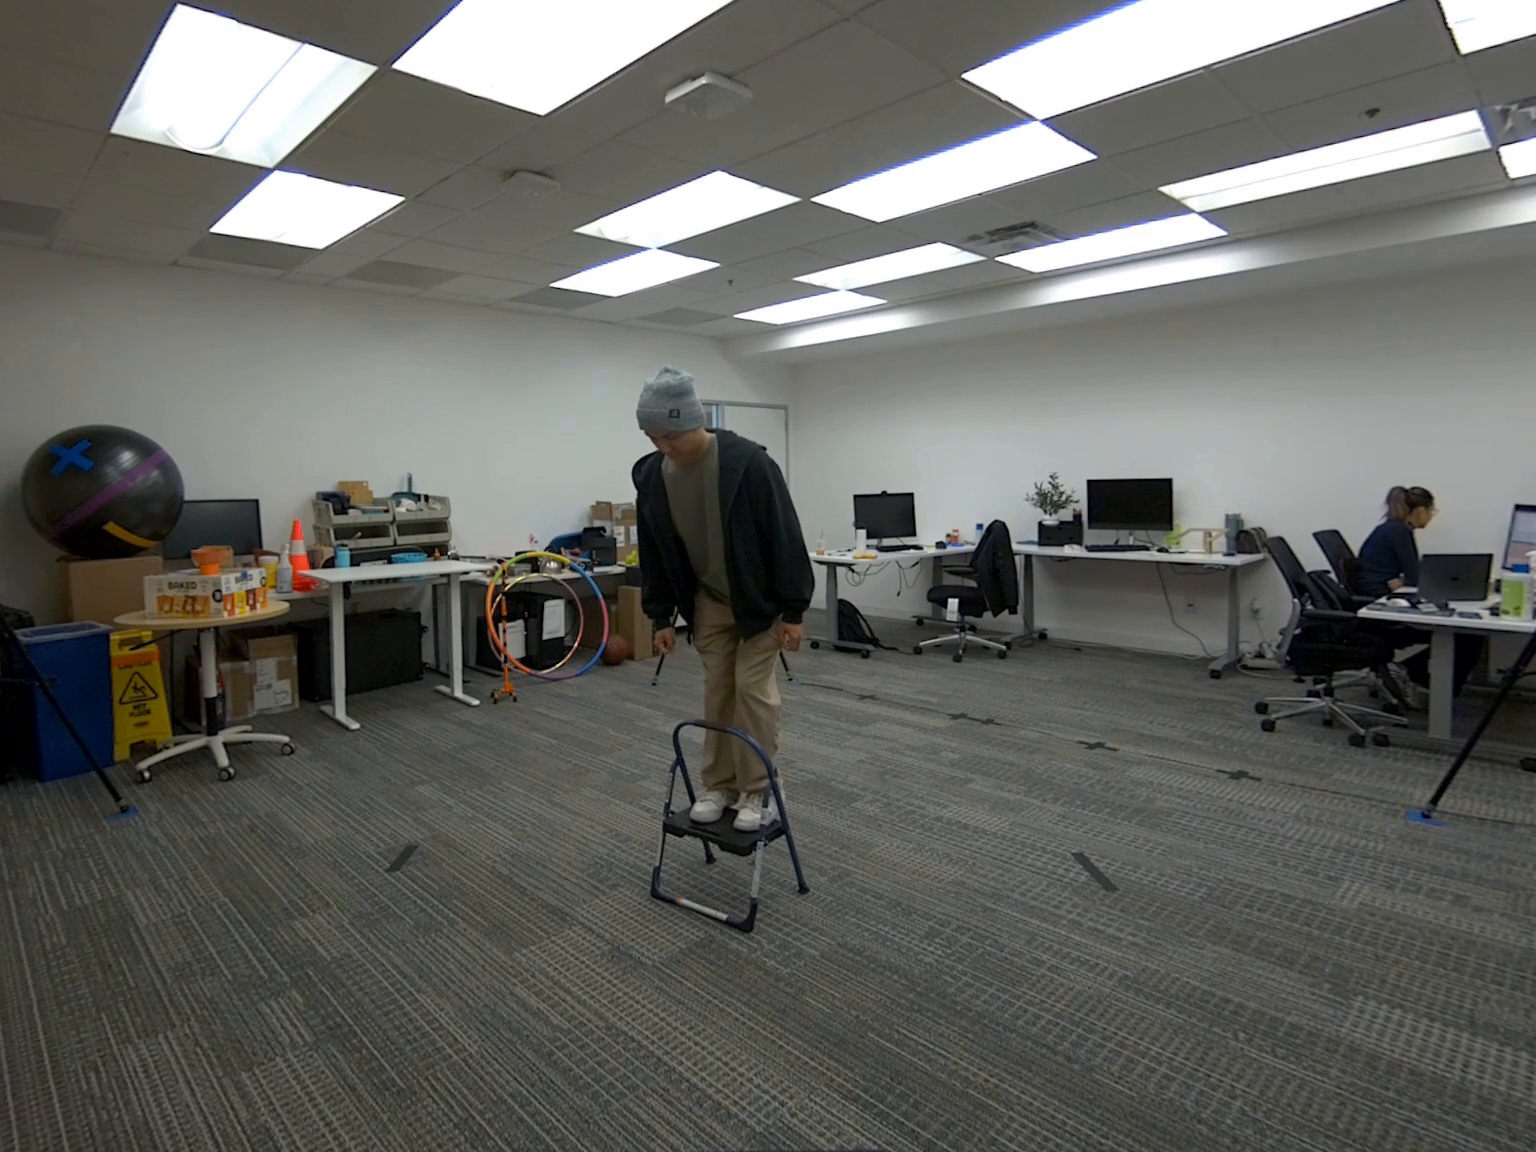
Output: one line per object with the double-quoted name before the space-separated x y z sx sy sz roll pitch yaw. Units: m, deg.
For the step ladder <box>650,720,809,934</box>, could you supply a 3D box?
"step ladder" -0.137 0.774 2.864 0.443 0.603 0.341 2 6 35
